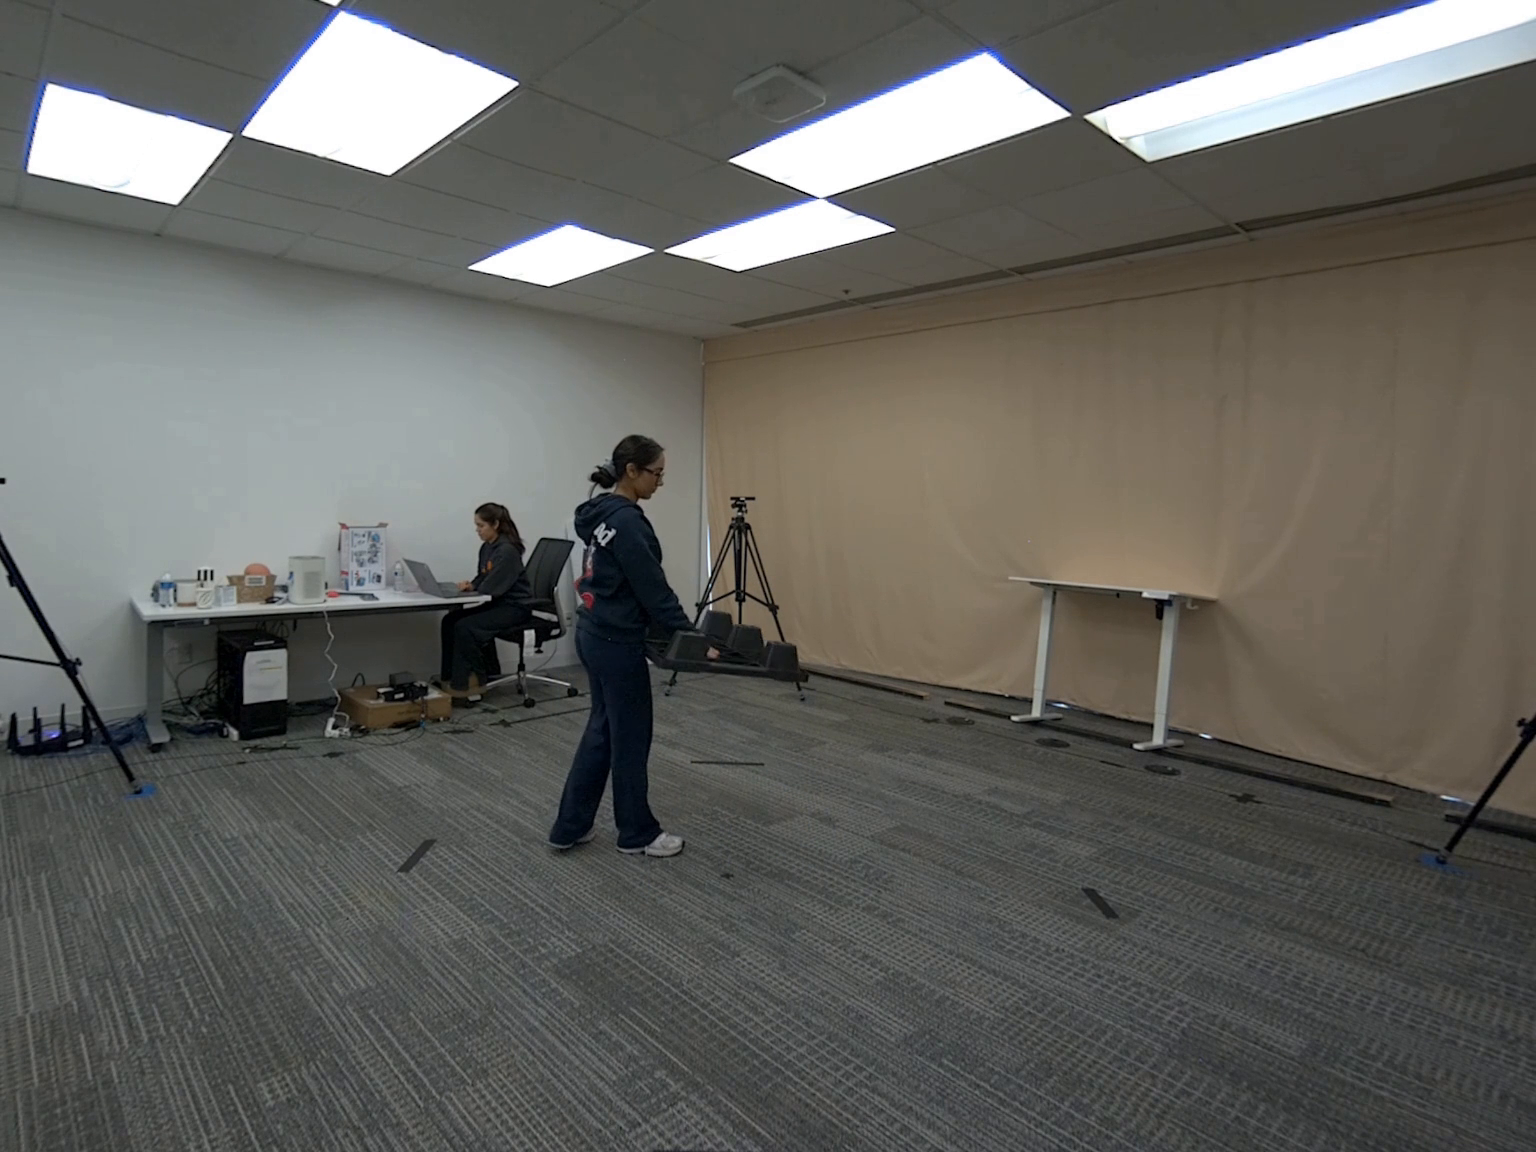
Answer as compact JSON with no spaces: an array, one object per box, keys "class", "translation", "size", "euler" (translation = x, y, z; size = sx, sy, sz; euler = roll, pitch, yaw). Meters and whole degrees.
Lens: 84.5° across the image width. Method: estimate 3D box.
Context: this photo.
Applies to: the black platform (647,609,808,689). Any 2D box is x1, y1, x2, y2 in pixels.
[{"class":"black platform","translation":[-0.274,0.251,3.438],"size":[0.593,0.143,0.823],"euler":[9,4,-25]}]
